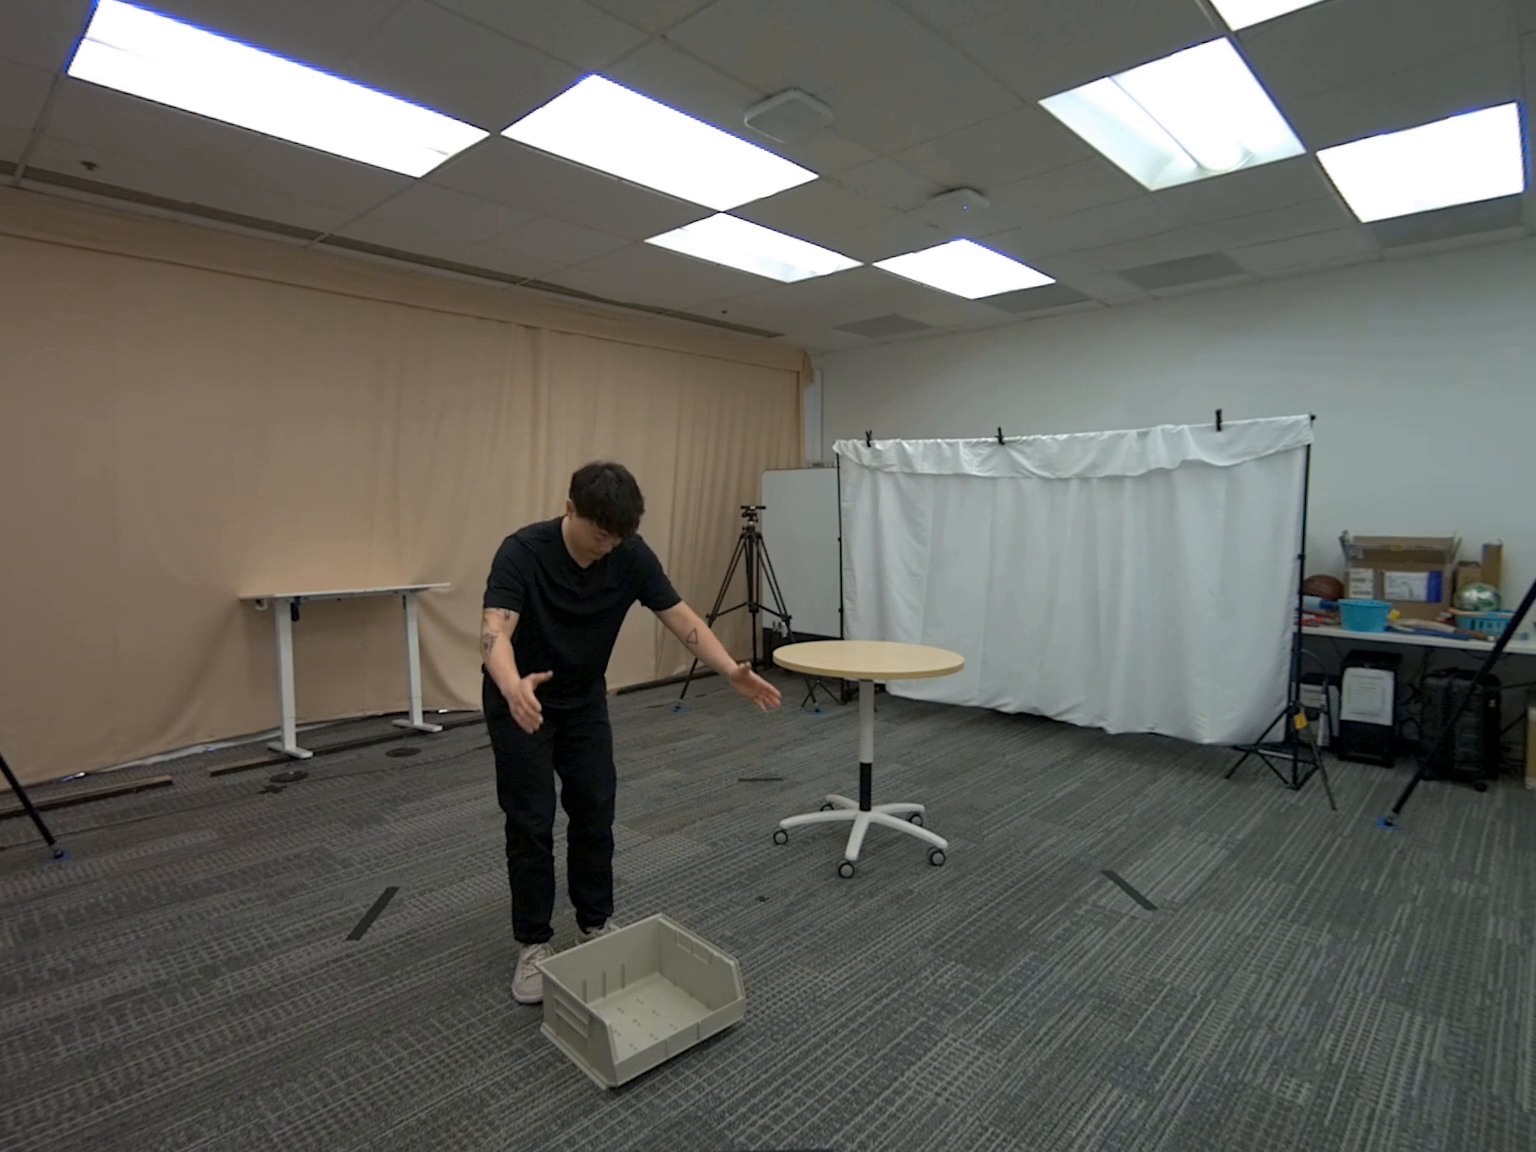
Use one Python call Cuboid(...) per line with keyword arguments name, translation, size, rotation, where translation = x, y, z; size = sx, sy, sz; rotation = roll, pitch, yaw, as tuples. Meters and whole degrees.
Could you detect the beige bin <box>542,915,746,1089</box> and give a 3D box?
Cuboid(name="beige bin", translation=(-0.337, 1.122, 2.232), size=(0.409, 0.188, 0.390), rotation=(-5, 6, -42))
